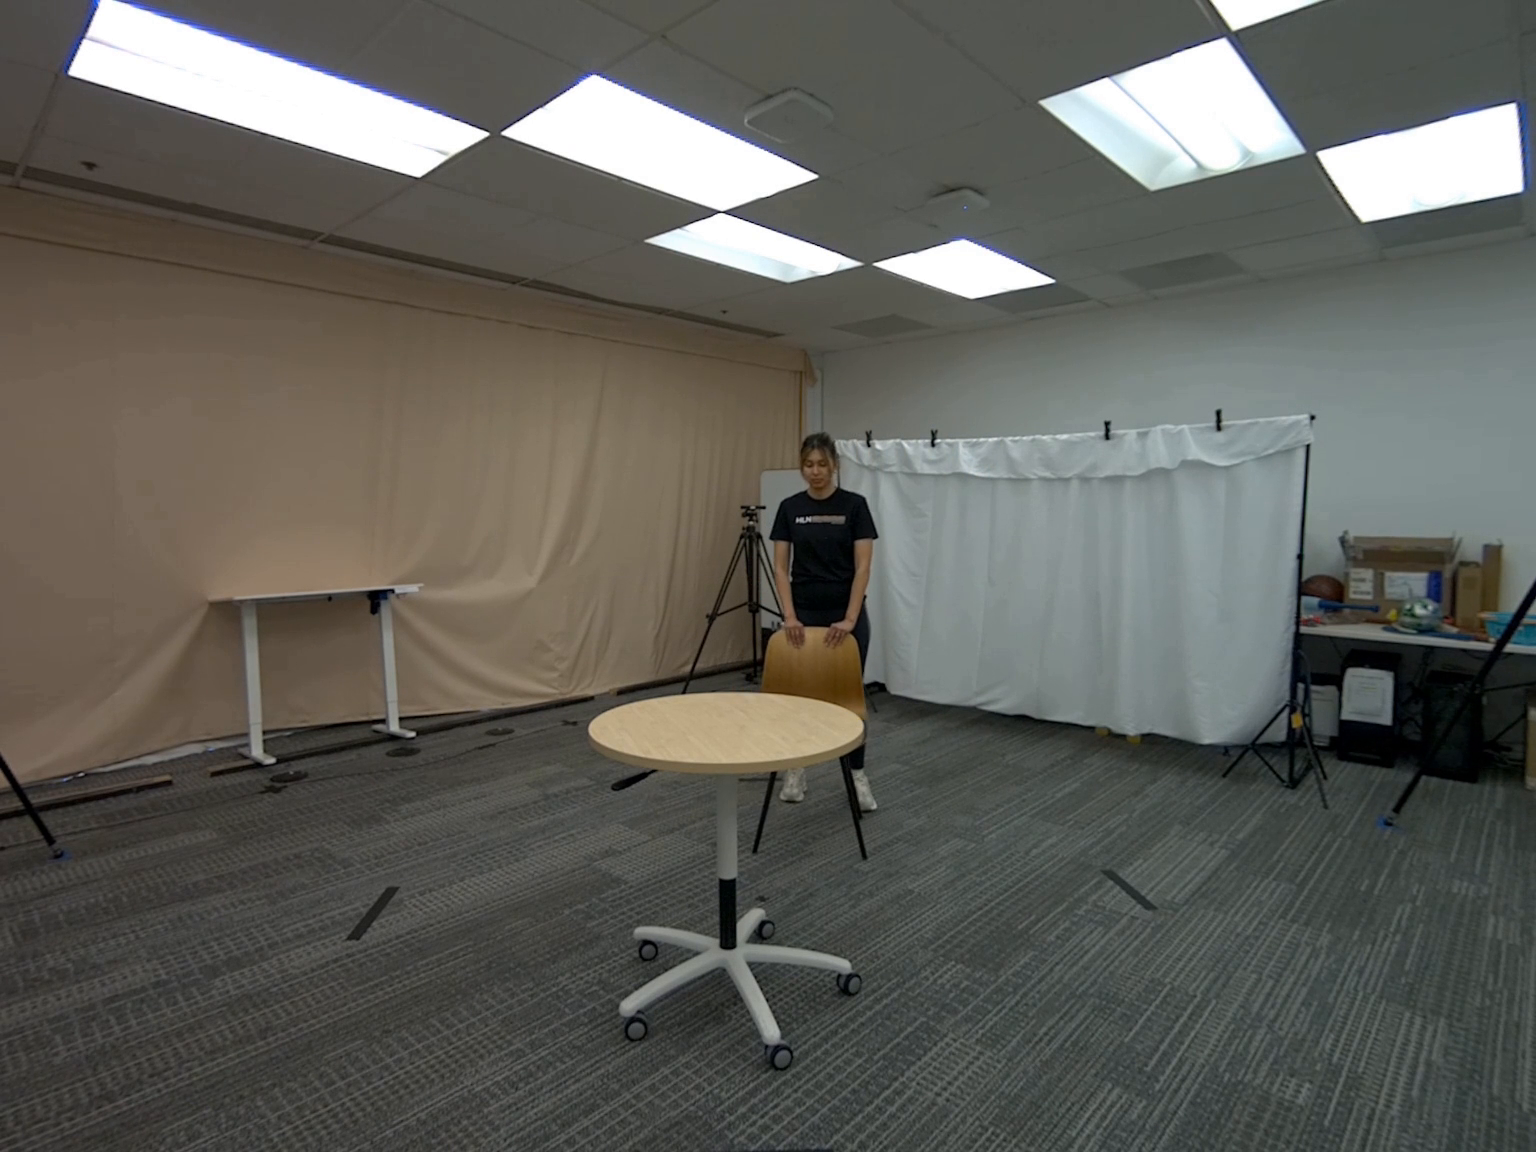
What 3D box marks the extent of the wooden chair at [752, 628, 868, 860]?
[{"bbox_3d":[0.179,0.670,3.522,0.483,0.878,0.518,0,0,7],"label":"wooden chair"}]
